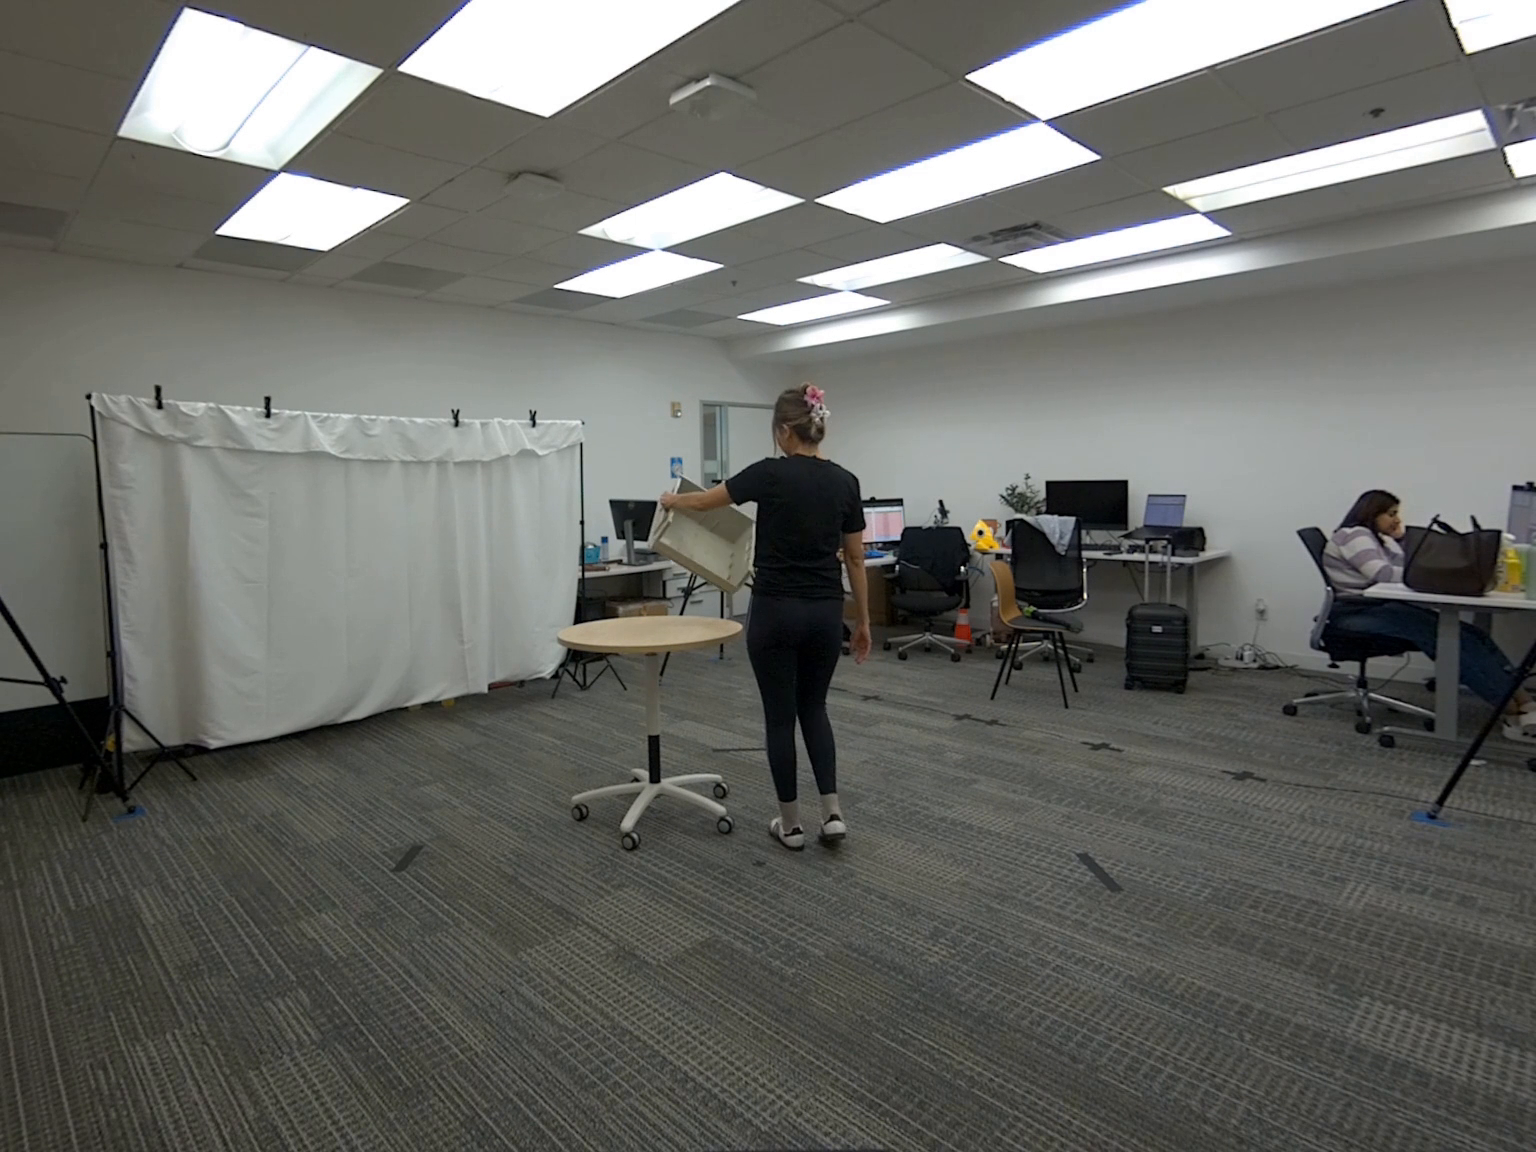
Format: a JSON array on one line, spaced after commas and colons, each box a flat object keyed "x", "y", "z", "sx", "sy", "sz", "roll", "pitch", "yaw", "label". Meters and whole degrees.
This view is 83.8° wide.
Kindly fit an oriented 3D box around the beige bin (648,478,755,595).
[{"x": -0.272, "y": -0.165, "z": 3.641, "sx": 0.413, "sy": 0.189, "sz": 0.386, "roll": 30, "pitch": 34, "yaw": -17, "label": "beige bin"}]
